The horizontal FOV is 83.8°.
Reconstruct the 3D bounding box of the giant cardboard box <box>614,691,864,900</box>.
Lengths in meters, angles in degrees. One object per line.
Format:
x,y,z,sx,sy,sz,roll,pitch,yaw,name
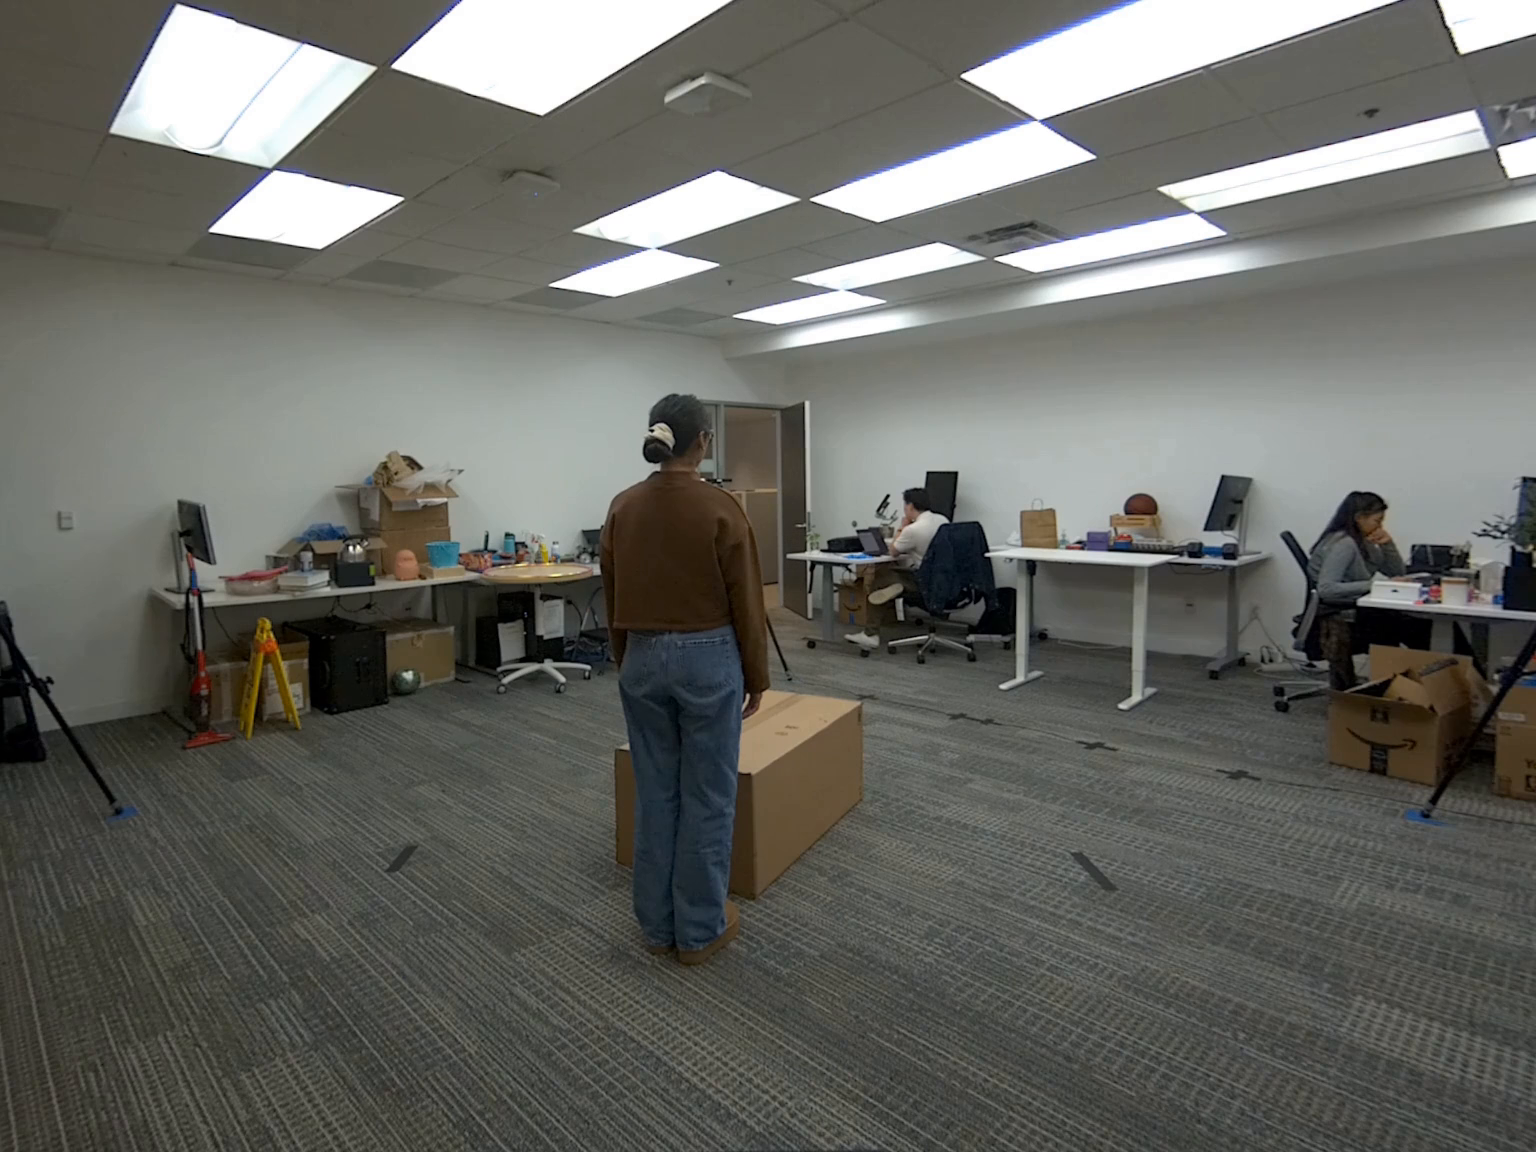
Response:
-0.071,0.798,3.409,0.598,0.445,1.005,1,6,28,giant cardboard box
